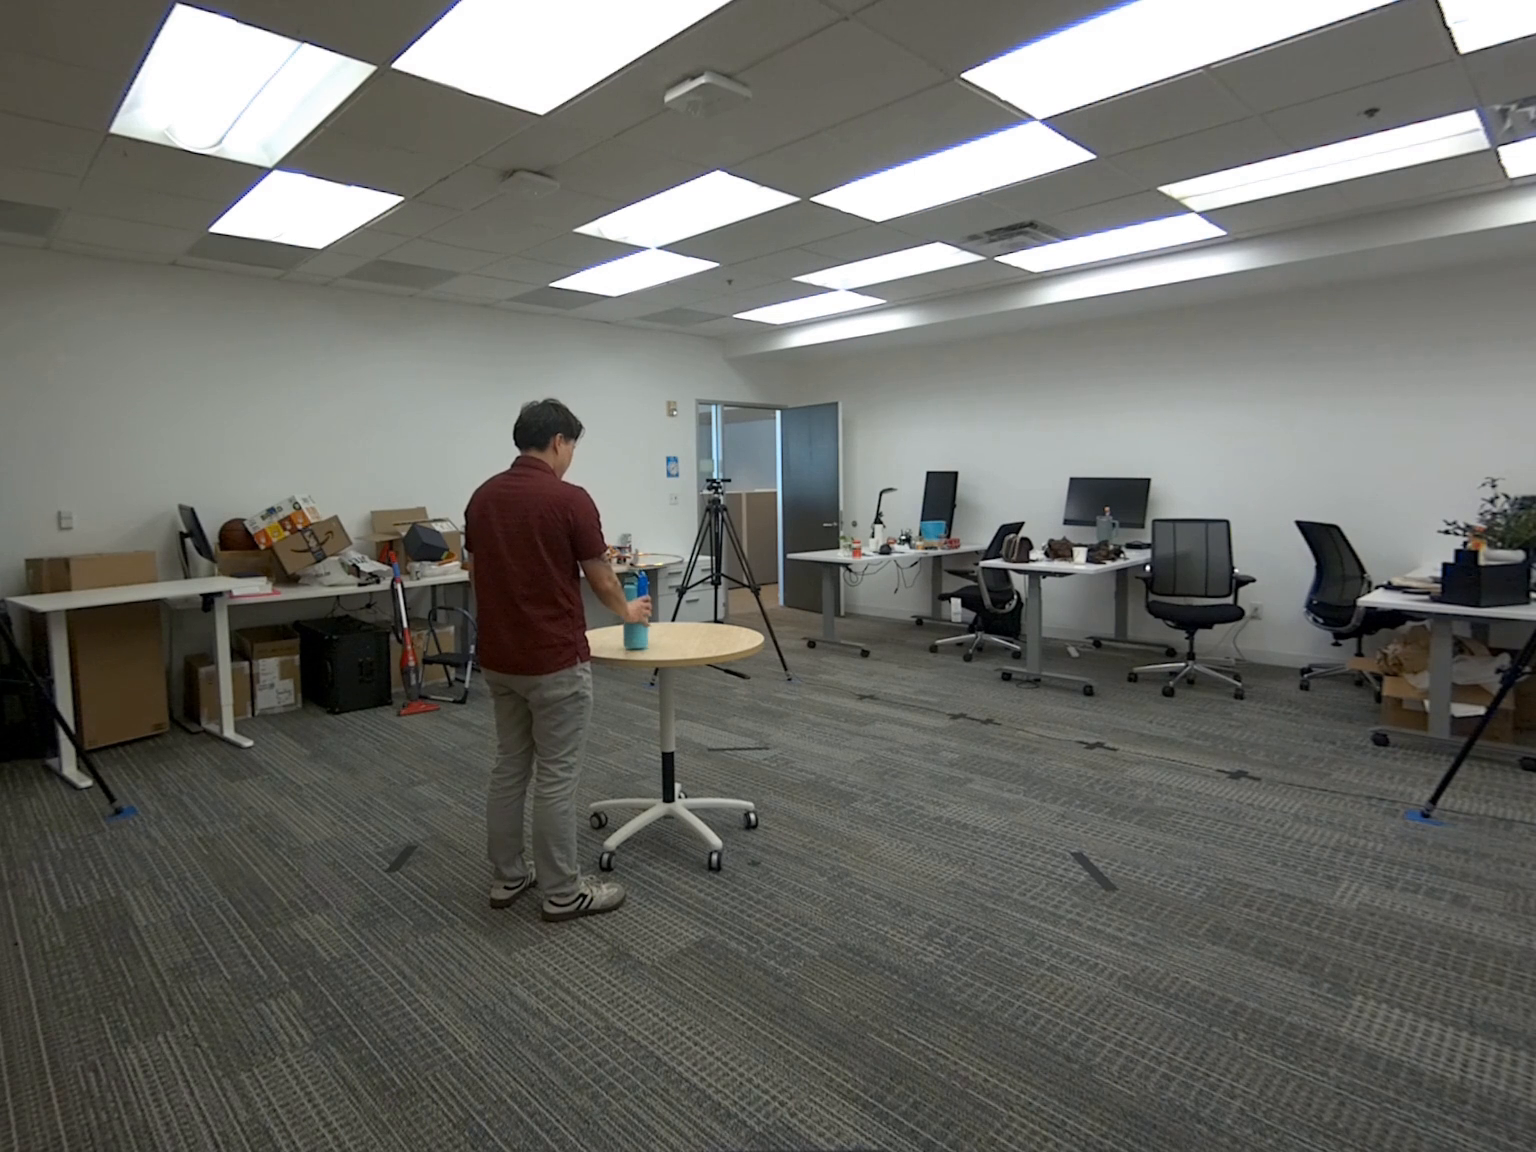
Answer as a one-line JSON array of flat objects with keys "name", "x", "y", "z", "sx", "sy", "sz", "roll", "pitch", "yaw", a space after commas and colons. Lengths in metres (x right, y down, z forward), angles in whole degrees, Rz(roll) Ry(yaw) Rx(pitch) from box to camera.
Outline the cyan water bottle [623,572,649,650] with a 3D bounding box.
[{"name": "cyan water bottle", "x": -0.480, "y": 0.100, "z": 3.132, "sx": 0.092, "sy": 0.283, "sz": 0.092, "roll": 0, "pitch": 0, "yaw": -2}]
